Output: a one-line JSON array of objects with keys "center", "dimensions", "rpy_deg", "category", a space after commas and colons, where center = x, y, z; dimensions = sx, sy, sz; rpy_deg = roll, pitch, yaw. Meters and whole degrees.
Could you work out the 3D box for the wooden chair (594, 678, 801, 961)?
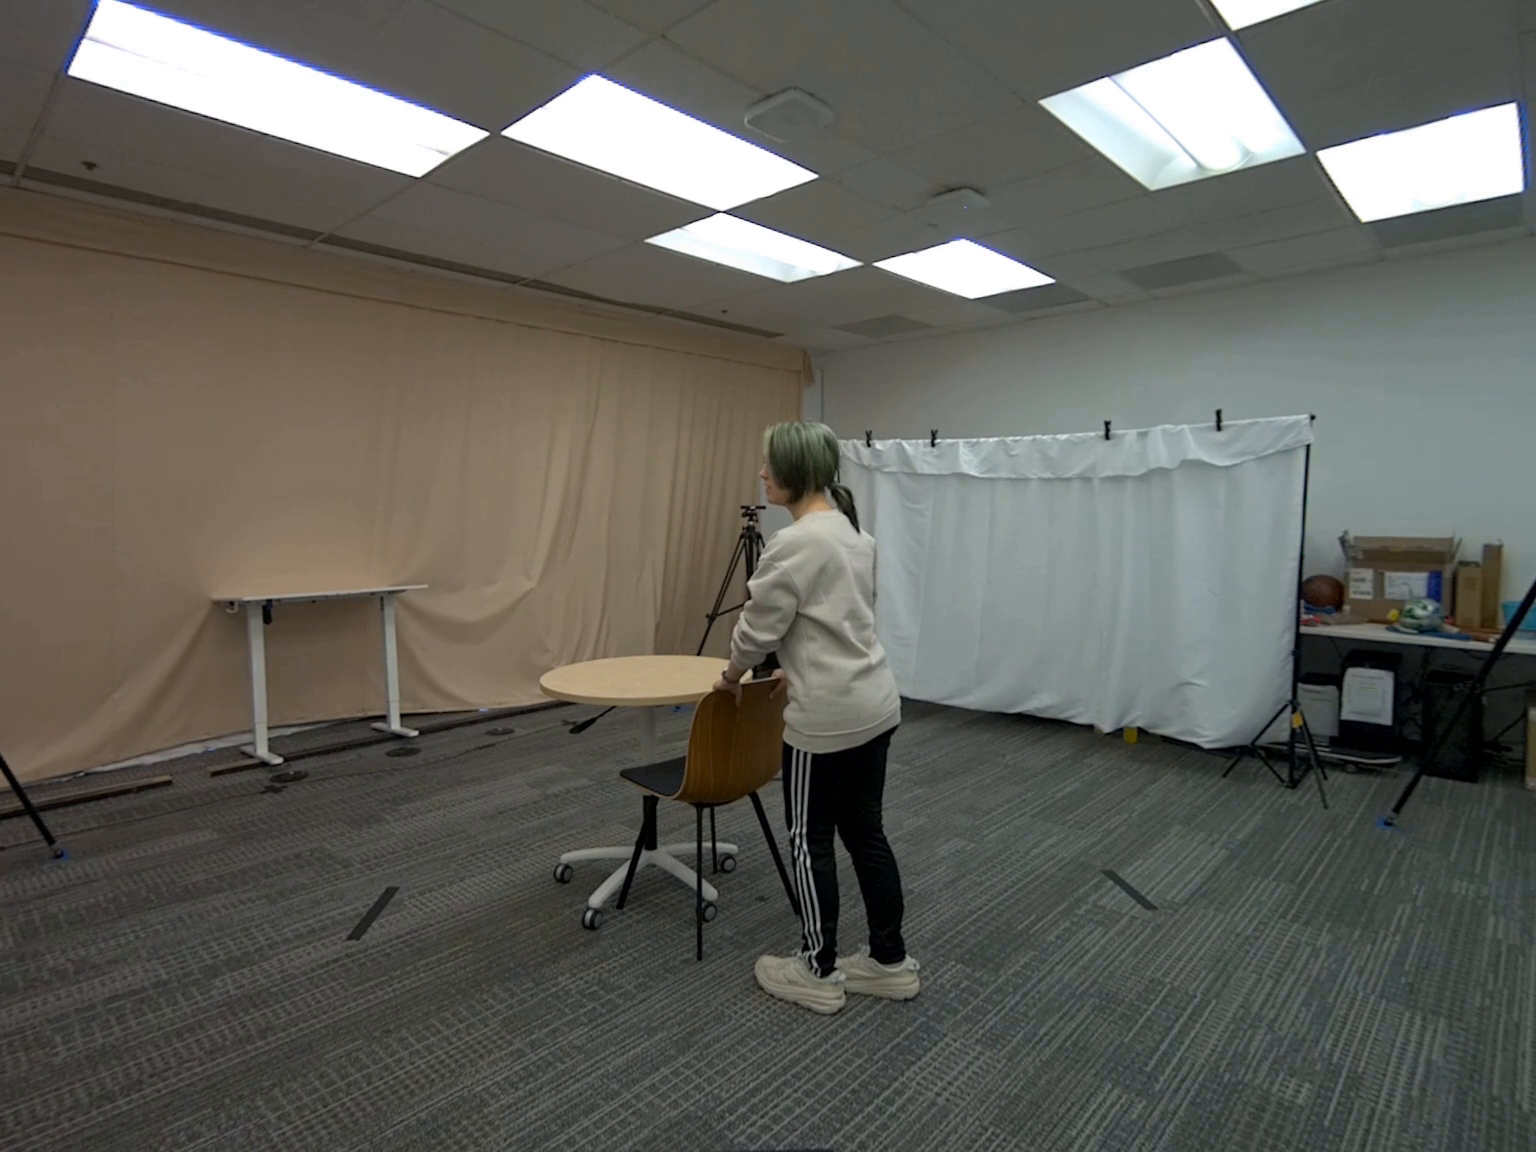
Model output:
[{"center": [-0.207, 0.730, 2.864], "dimensions": [0.463, 0.874, 0.541], "rpy_deg": [-4, 9, -41], "category": "wooden chair"}]
